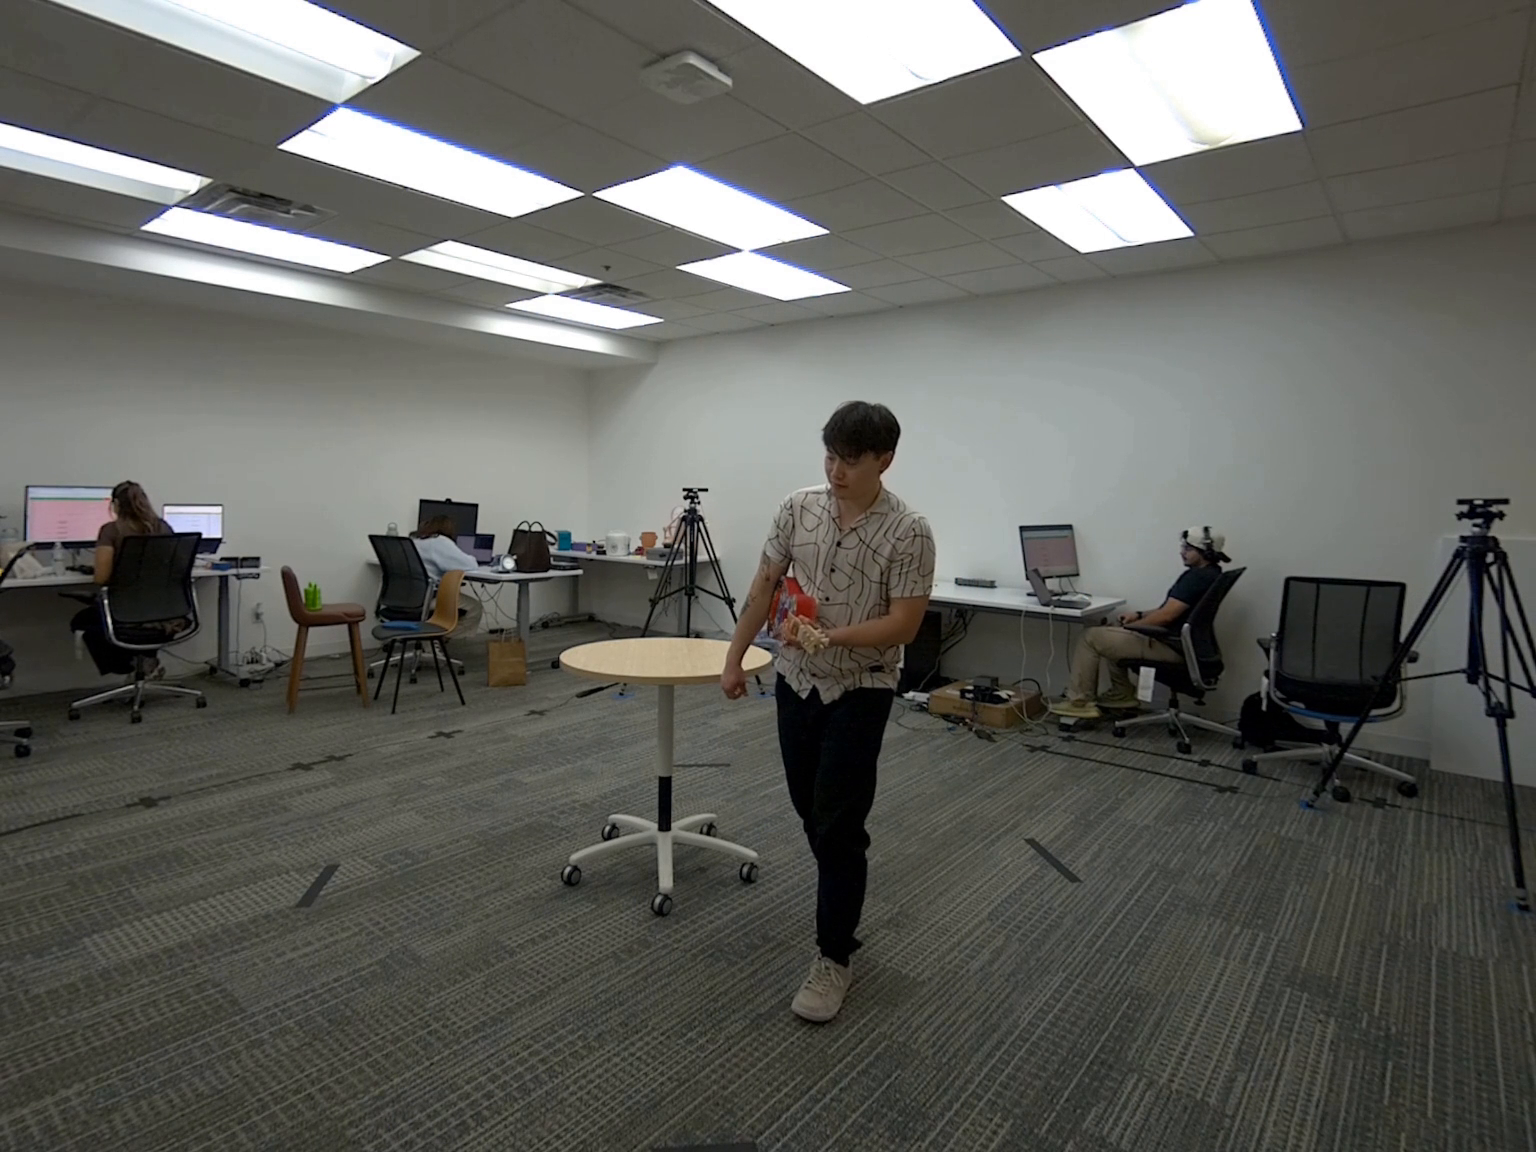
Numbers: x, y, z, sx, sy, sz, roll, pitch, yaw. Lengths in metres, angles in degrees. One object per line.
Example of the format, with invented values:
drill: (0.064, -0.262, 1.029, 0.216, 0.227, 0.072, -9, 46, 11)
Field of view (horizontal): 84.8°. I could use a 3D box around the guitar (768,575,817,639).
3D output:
guitar: (0.071, 0.153, 2.360, 0.069, 0.191, 0.510, 14, 15, -14)
